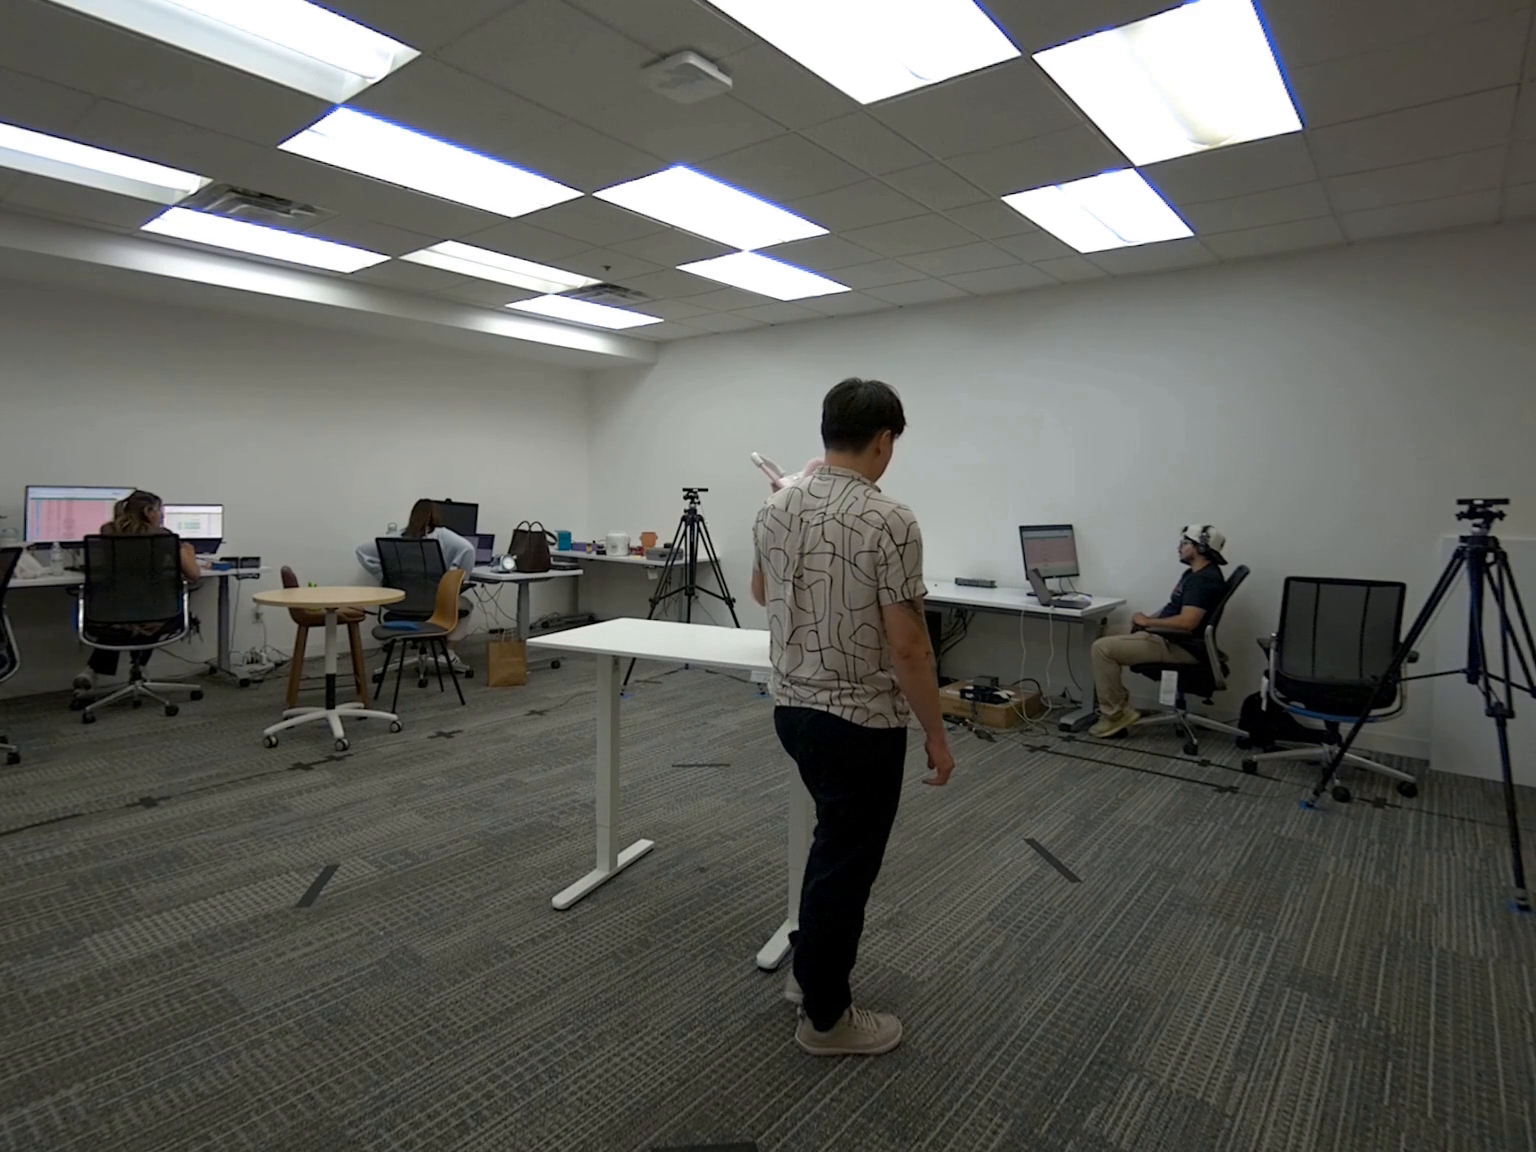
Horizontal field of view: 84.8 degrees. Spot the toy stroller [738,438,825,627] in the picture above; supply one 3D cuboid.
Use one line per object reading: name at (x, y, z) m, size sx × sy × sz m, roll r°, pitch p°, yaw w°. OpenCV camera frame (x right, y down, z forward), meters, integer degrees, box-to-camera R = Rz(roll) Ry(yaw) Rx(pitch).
toy stroller at (0.128, -0.120, 2.586) m, size 0.350 × 0.539 × 0.272 m, roll -5°, pitch -8°, yaw 28°
